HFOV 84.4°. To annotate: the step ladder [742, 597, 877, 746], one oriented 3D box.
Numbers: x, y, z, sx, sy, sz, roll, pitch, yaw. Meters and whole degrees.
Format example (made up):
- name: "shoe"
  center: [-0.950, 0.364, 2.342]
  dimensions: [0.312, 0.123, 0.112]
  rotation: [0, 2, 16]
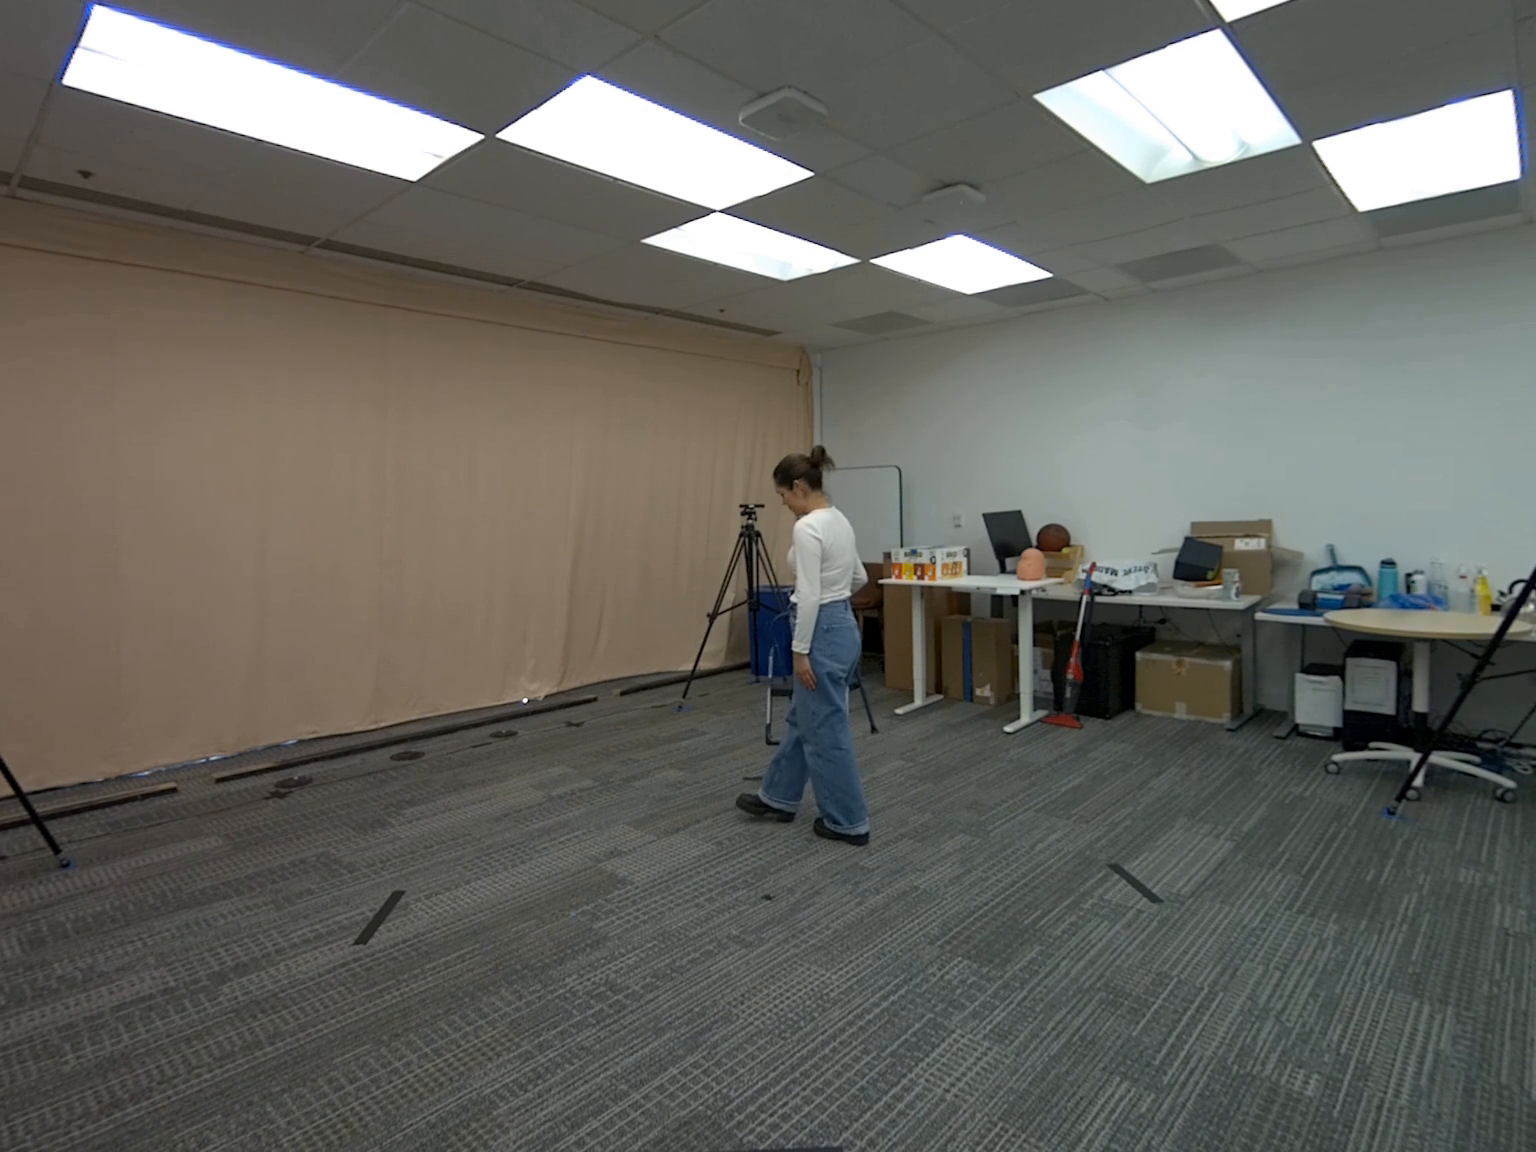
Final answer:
- name: "step ladder"
  center: [0.221, 0.464, 3.920]
  dimensions: [0.442, 0.606, 0.340]
  rotation: [-5, 0, 32]
